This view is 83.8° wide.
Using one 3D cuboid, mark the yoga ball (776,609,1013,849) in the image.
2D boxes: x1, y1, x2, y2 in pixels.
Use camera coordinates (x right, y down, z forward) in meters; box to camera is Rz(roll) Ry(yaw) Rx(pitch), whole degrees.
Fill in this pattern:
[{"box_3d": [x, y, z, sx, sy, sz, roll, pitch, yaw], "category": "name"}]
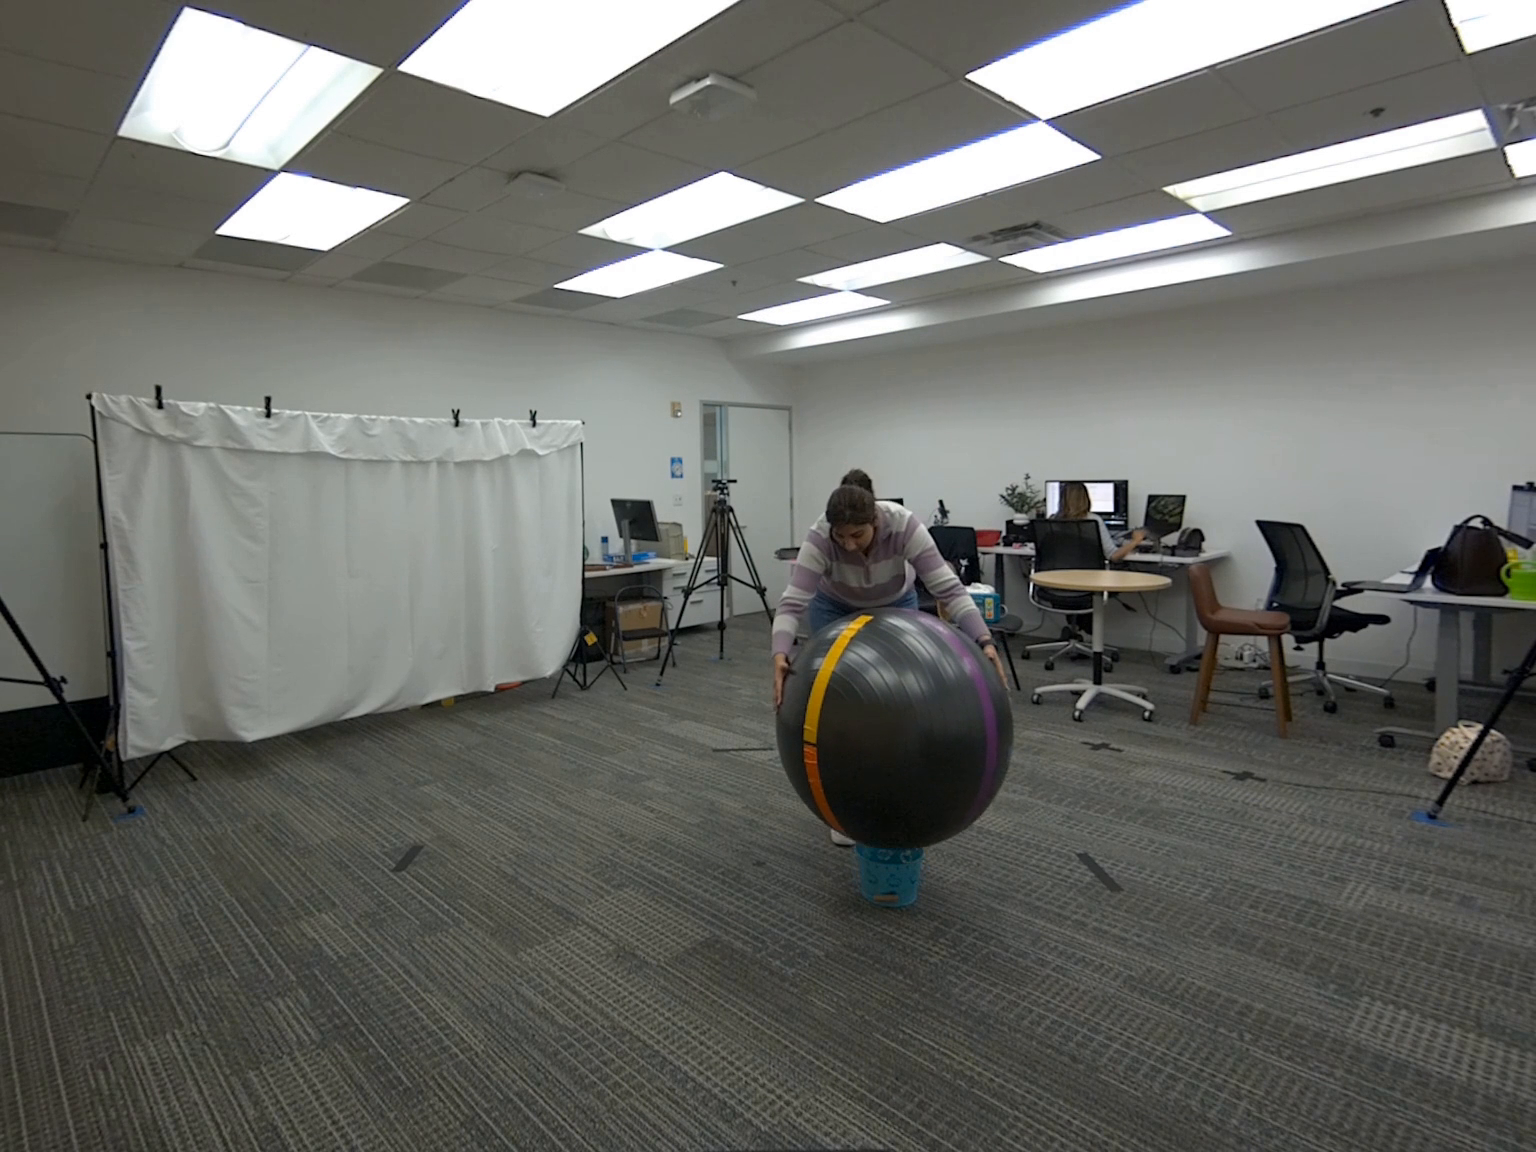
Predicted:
[{"box_3d": [0.405, 0.488, 2.773, 0.757, 0.755, 0.762, -1, 5, -2], "category": "yoga ball"}]
